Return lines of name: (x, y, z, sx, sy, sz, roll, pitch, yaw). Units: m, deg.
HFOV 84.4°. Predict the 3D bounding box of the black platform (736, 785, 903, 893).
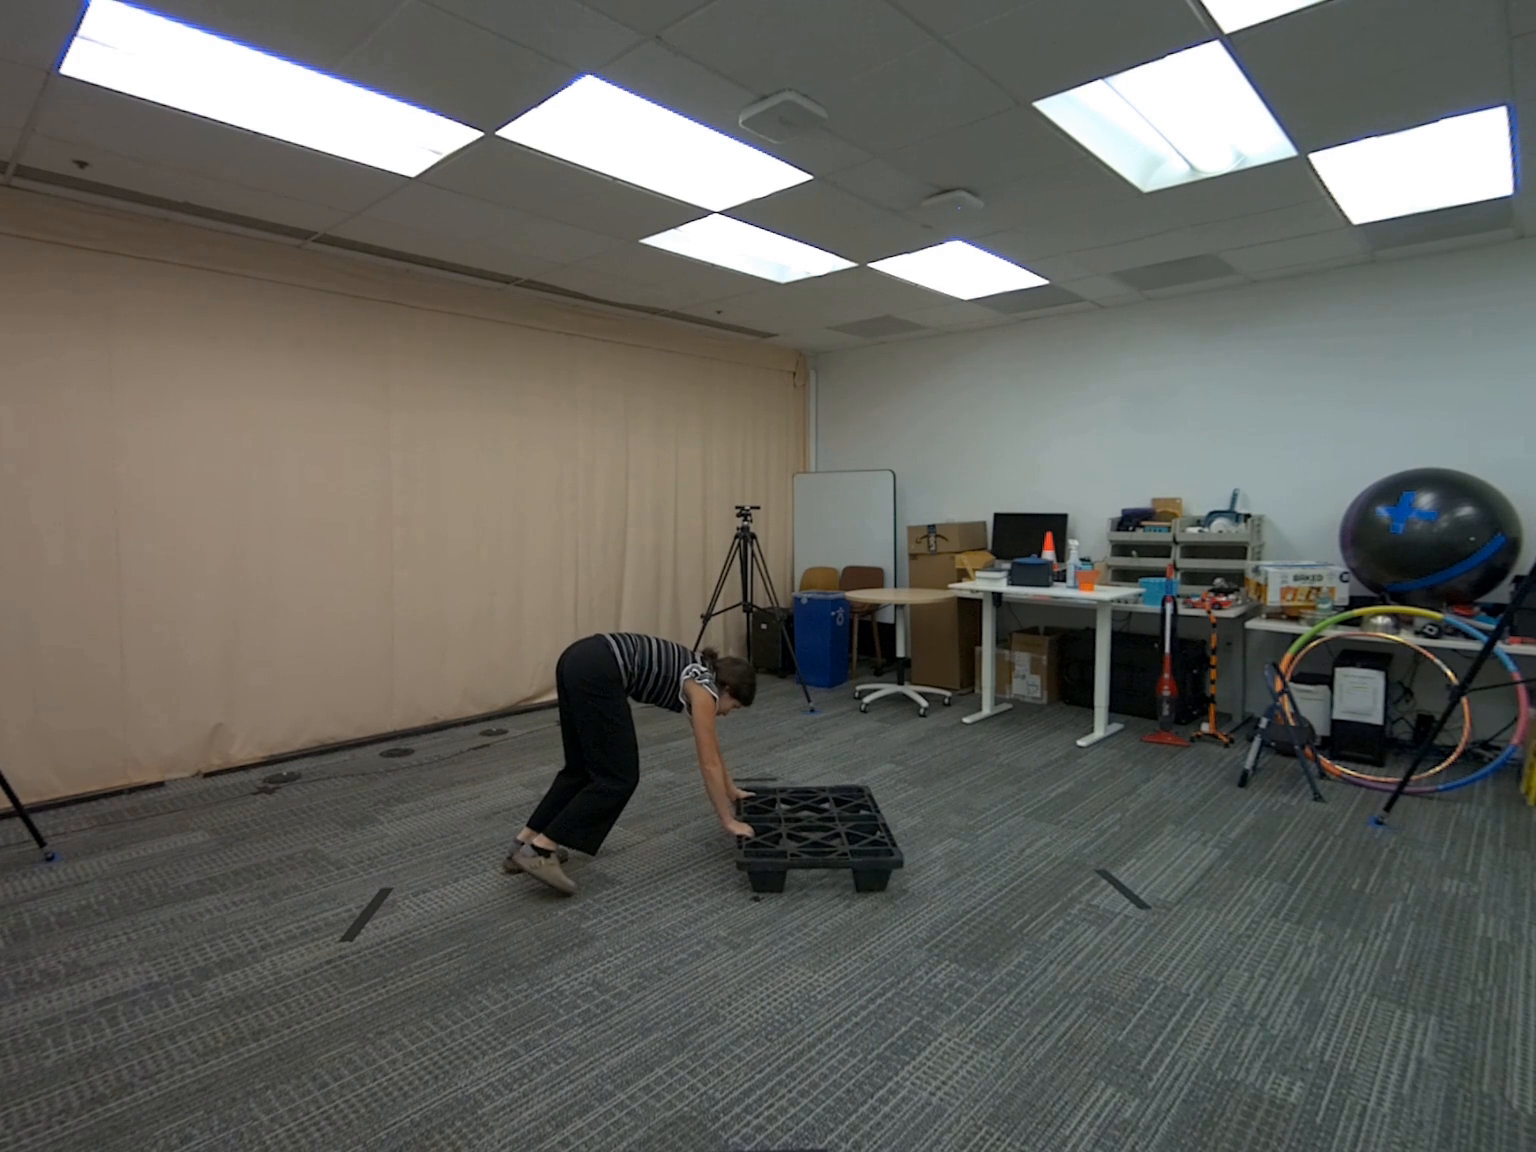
black platform: (0.173, 1.038, 3.386, 0.605, 0.143, 0.808, 0, 5, -2)
